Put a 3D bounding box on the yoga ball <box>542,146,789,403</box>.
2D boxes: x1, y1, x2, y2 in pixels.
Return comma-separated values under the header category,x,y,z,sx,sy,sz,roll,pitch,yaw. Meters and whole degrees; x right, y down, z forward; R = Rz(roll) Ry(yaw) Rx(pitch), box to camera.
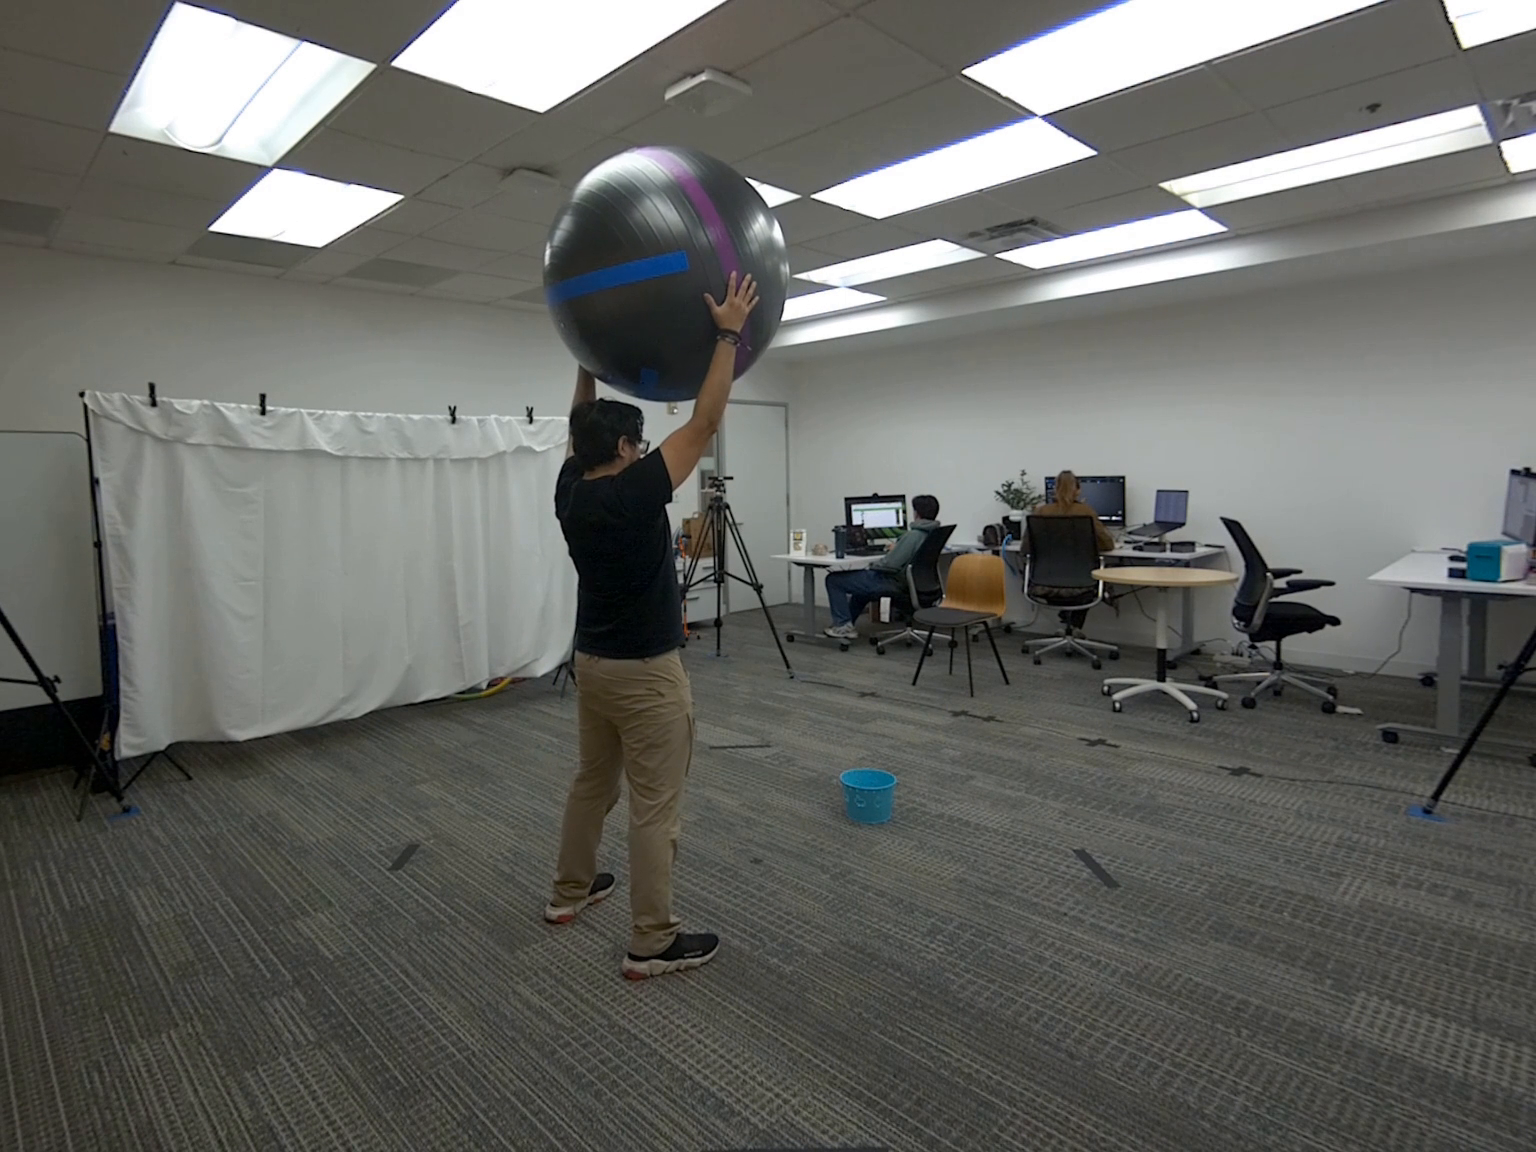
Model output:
category,x,y,z,sx,sy,sz,roll,pitch,yaw
yoga ball,-0.315,-0.920,2.659,0.757,0.755,0.762,-1,5,-2
